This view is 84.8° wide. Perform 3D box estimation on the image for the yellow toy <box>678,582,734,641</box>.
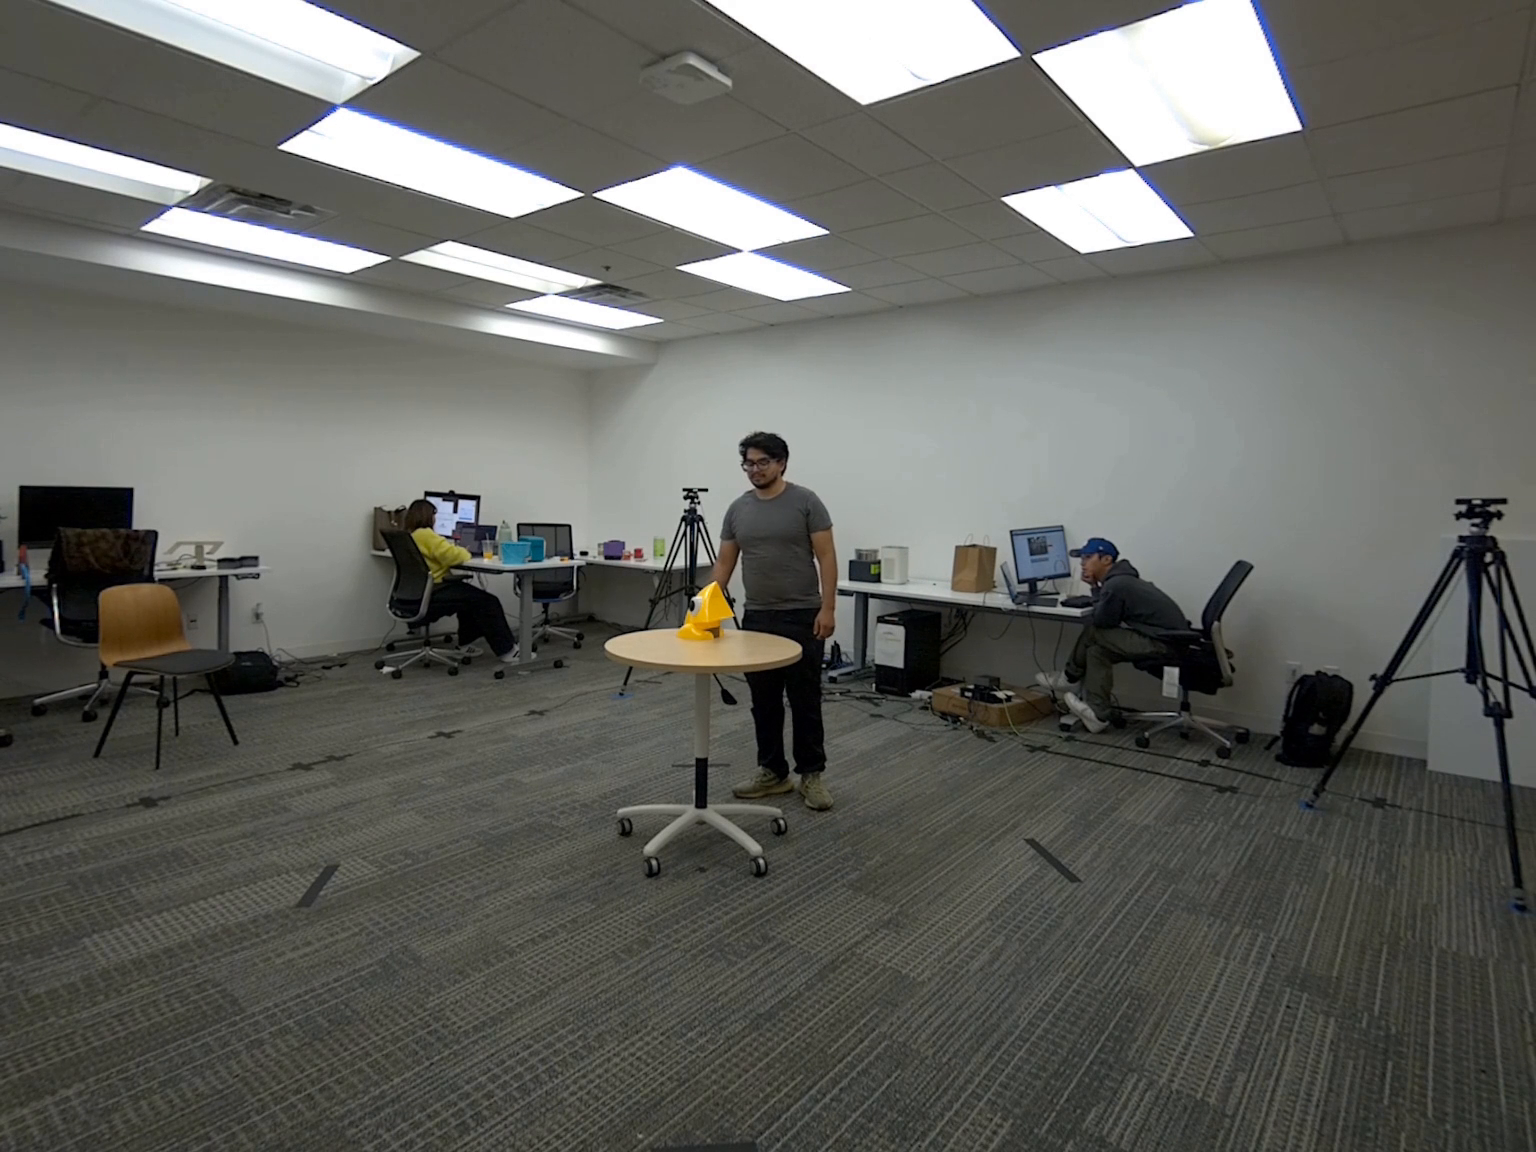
[{"bbox_3d":[-0.284,0.132,3.510,0.199,0.230,0.199,2,4,31],"label":"yellow toy"}]
